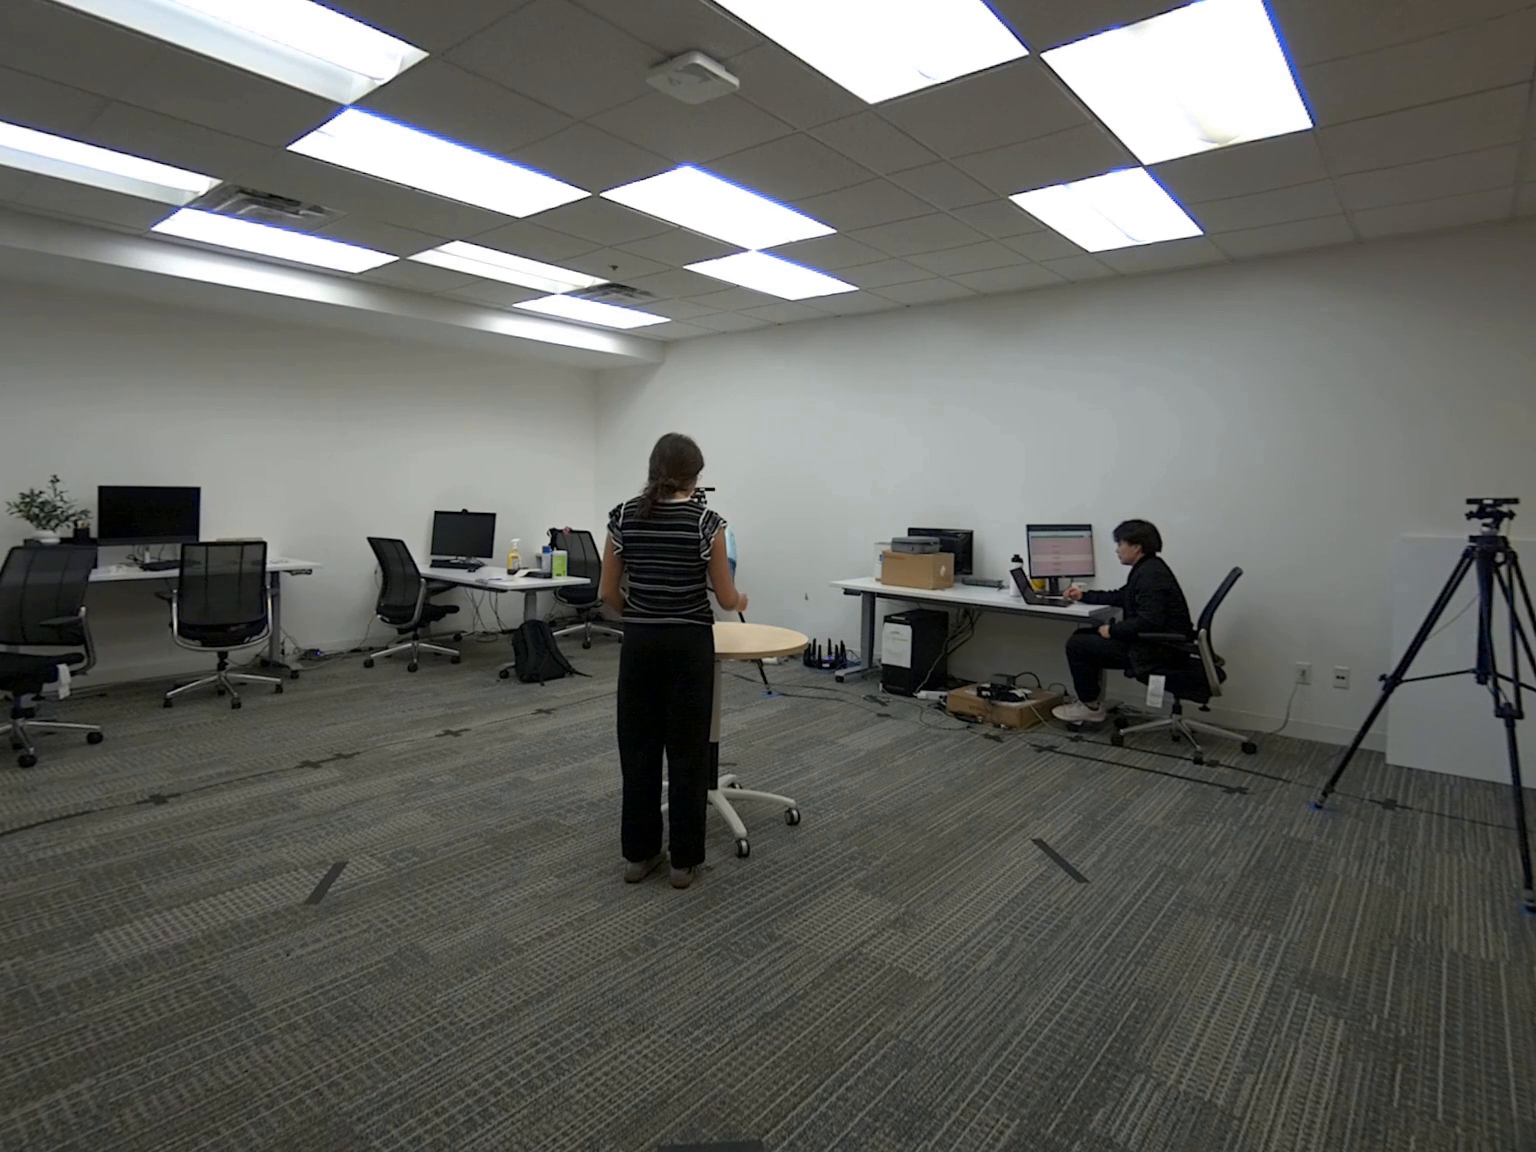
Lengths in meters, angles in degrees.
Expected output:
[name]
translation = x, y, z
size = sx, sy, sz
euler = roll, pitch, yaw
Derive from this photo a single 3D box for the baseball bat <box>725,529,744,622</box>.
[baseball bat]
translation = -0.166, -0.034, 3.496
size = 0.088, 0.087, 0.560
euler = 0, 33, -8
